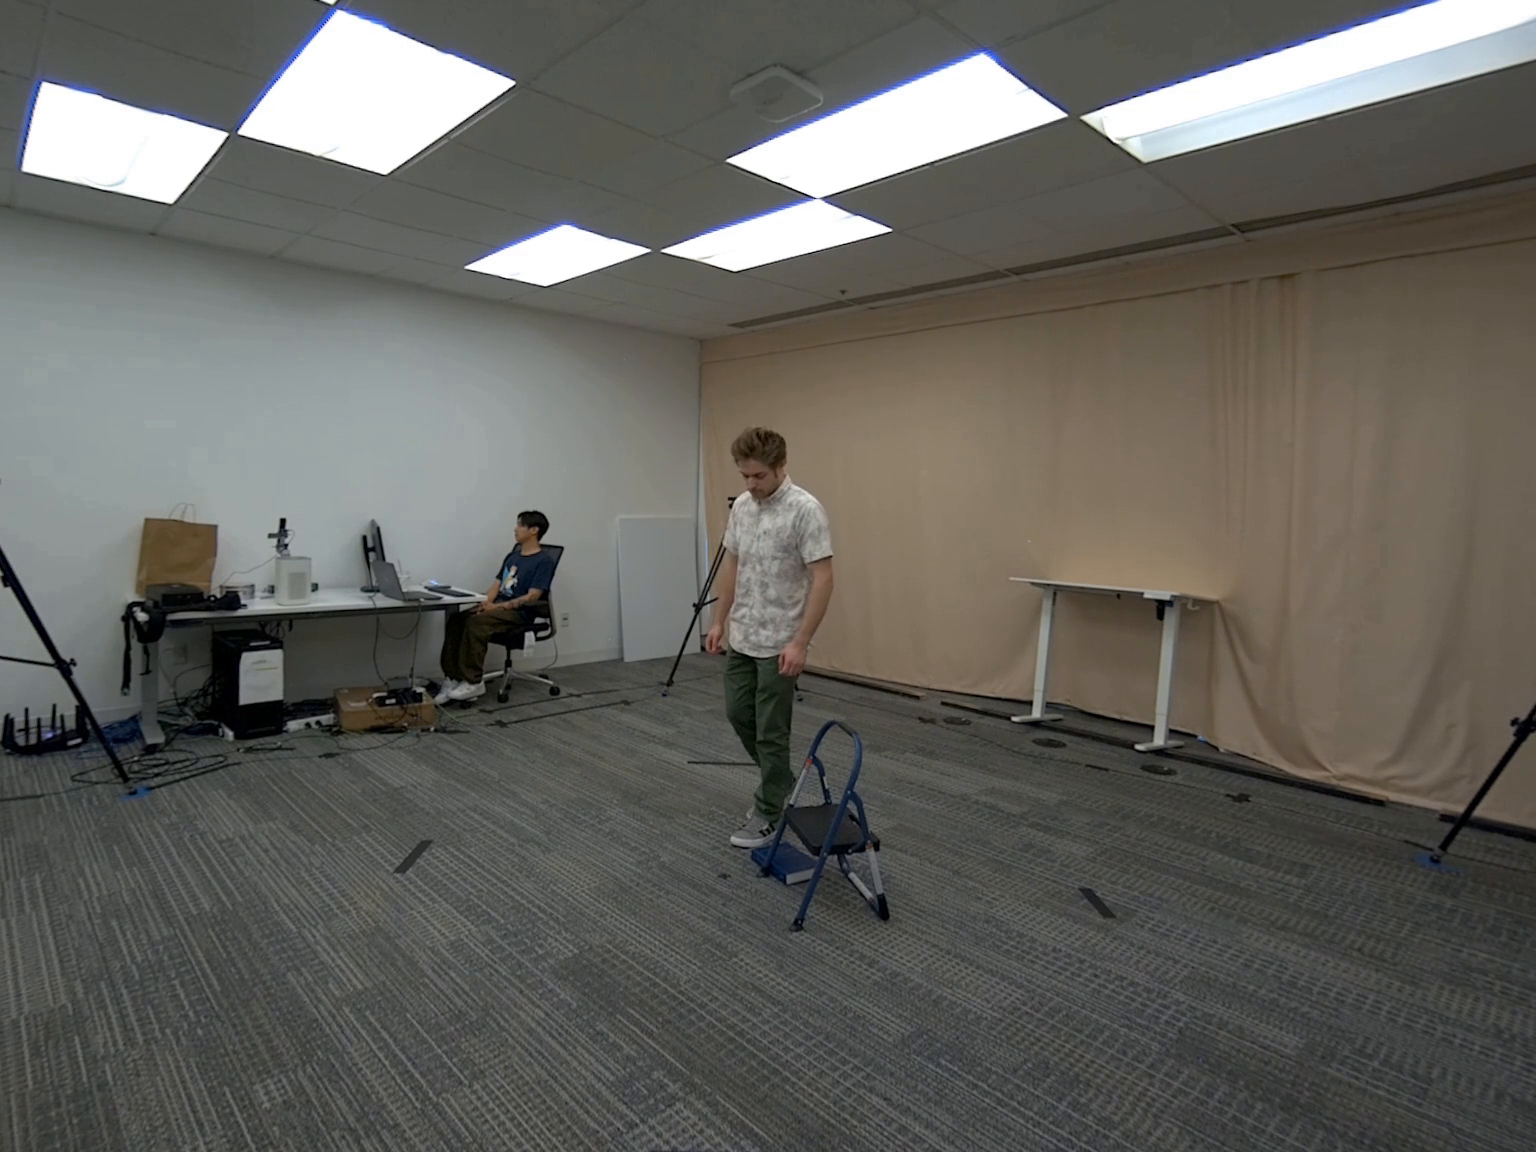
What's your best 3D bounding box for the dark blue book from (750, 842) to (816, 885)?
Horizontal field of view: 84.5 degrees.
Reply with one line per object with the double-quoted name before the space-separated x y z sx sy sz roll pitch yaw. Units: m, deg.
"dark blue book" 0.059 1.087 3.178 0.160 0.045 0.251 -2 6 -32
